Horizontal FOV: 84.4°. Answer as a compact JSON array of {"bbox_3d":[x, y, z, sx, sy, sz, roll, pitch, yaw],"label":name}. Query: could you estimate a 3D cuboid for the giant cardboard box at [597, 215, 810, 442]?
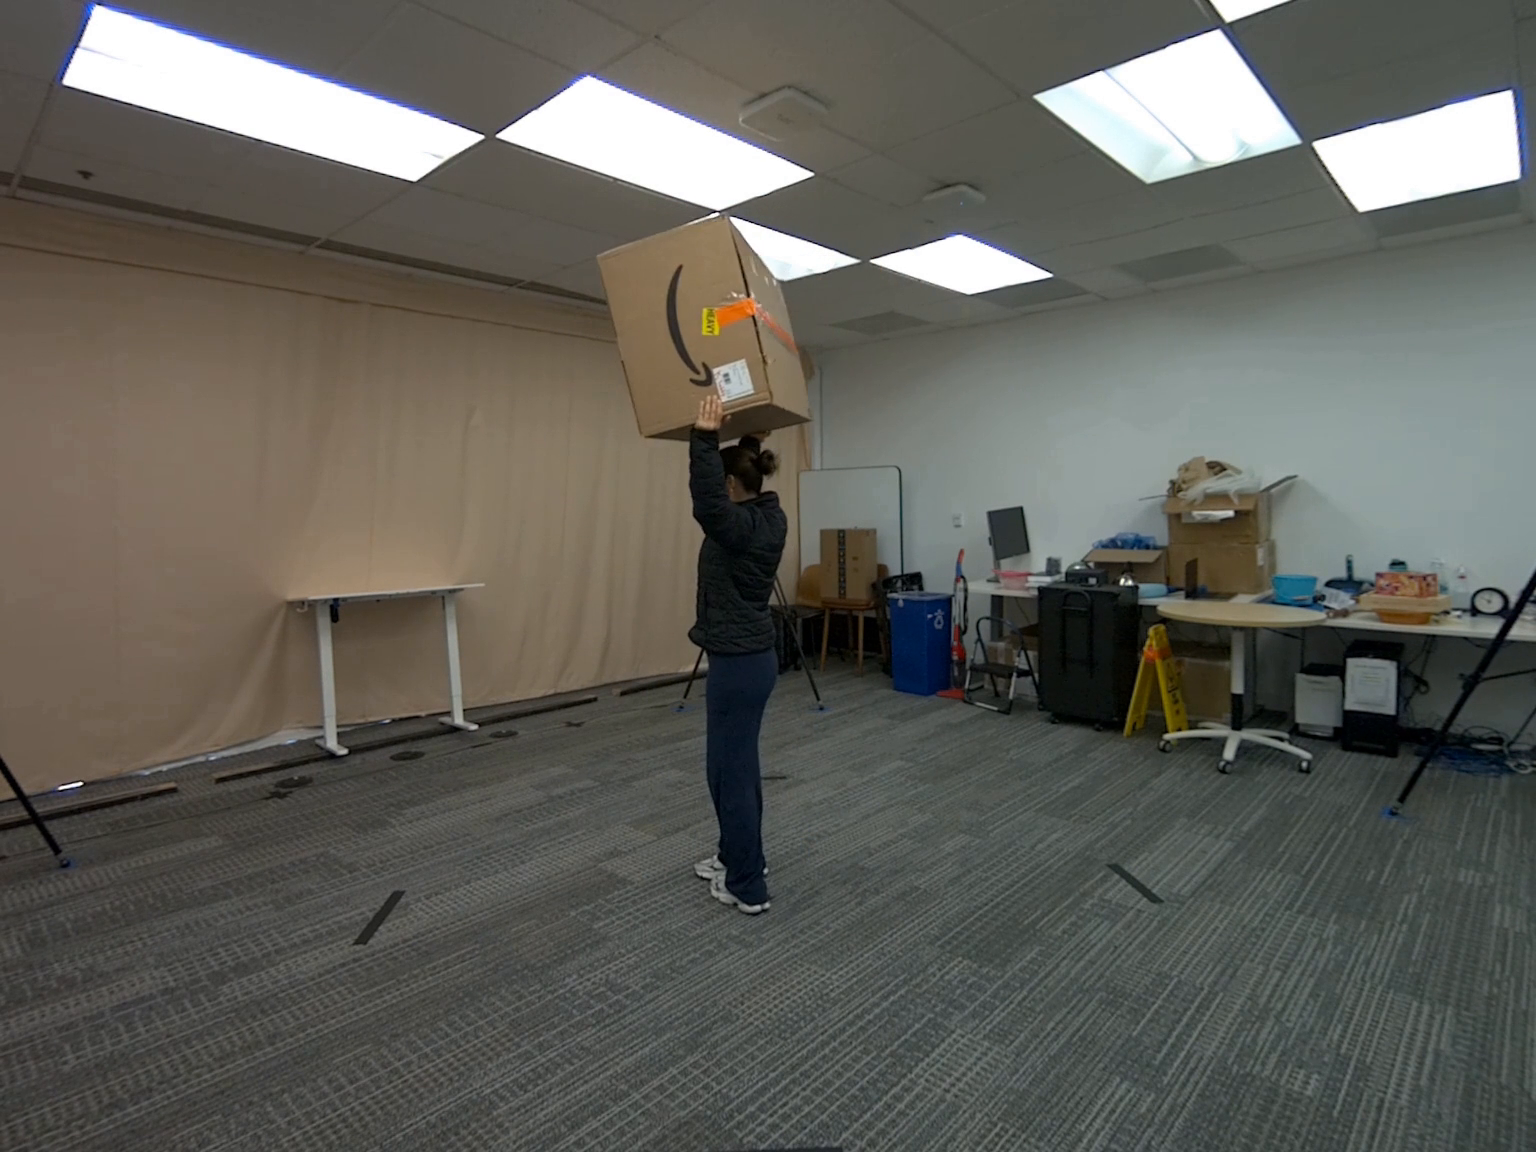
[{"bbox_3d":[-0.154,-0.807,3.005,0.452,0.582,1.019,-12,5,11],"label":"giant cardboard box"}]
